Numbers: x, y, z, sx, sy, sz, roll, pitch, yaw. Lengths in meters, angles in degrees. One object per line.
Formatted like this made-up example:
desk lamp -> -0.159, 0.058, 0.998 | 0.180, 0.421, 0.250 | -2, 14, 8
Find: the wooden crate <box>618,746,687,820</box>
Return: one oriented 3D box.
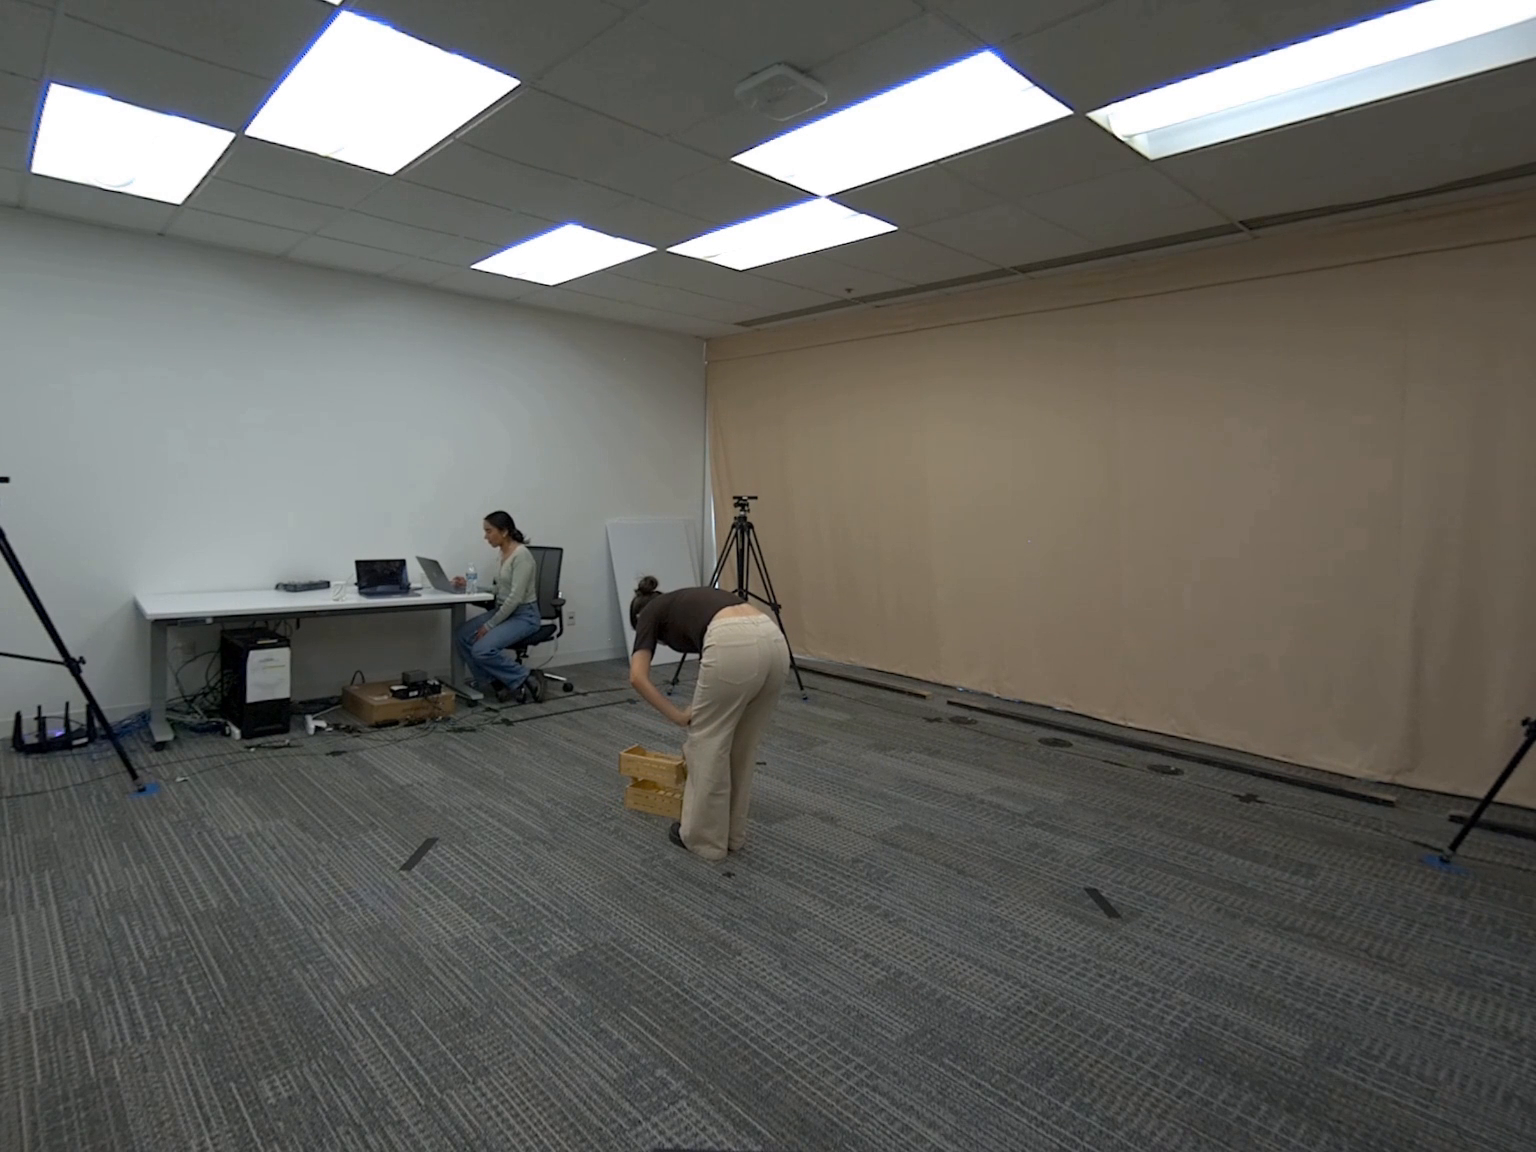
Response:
wooden crate -> -0.470, 0.901, 3.773 | 0.331, 0.272, 0.297 | 4, 6, 26
